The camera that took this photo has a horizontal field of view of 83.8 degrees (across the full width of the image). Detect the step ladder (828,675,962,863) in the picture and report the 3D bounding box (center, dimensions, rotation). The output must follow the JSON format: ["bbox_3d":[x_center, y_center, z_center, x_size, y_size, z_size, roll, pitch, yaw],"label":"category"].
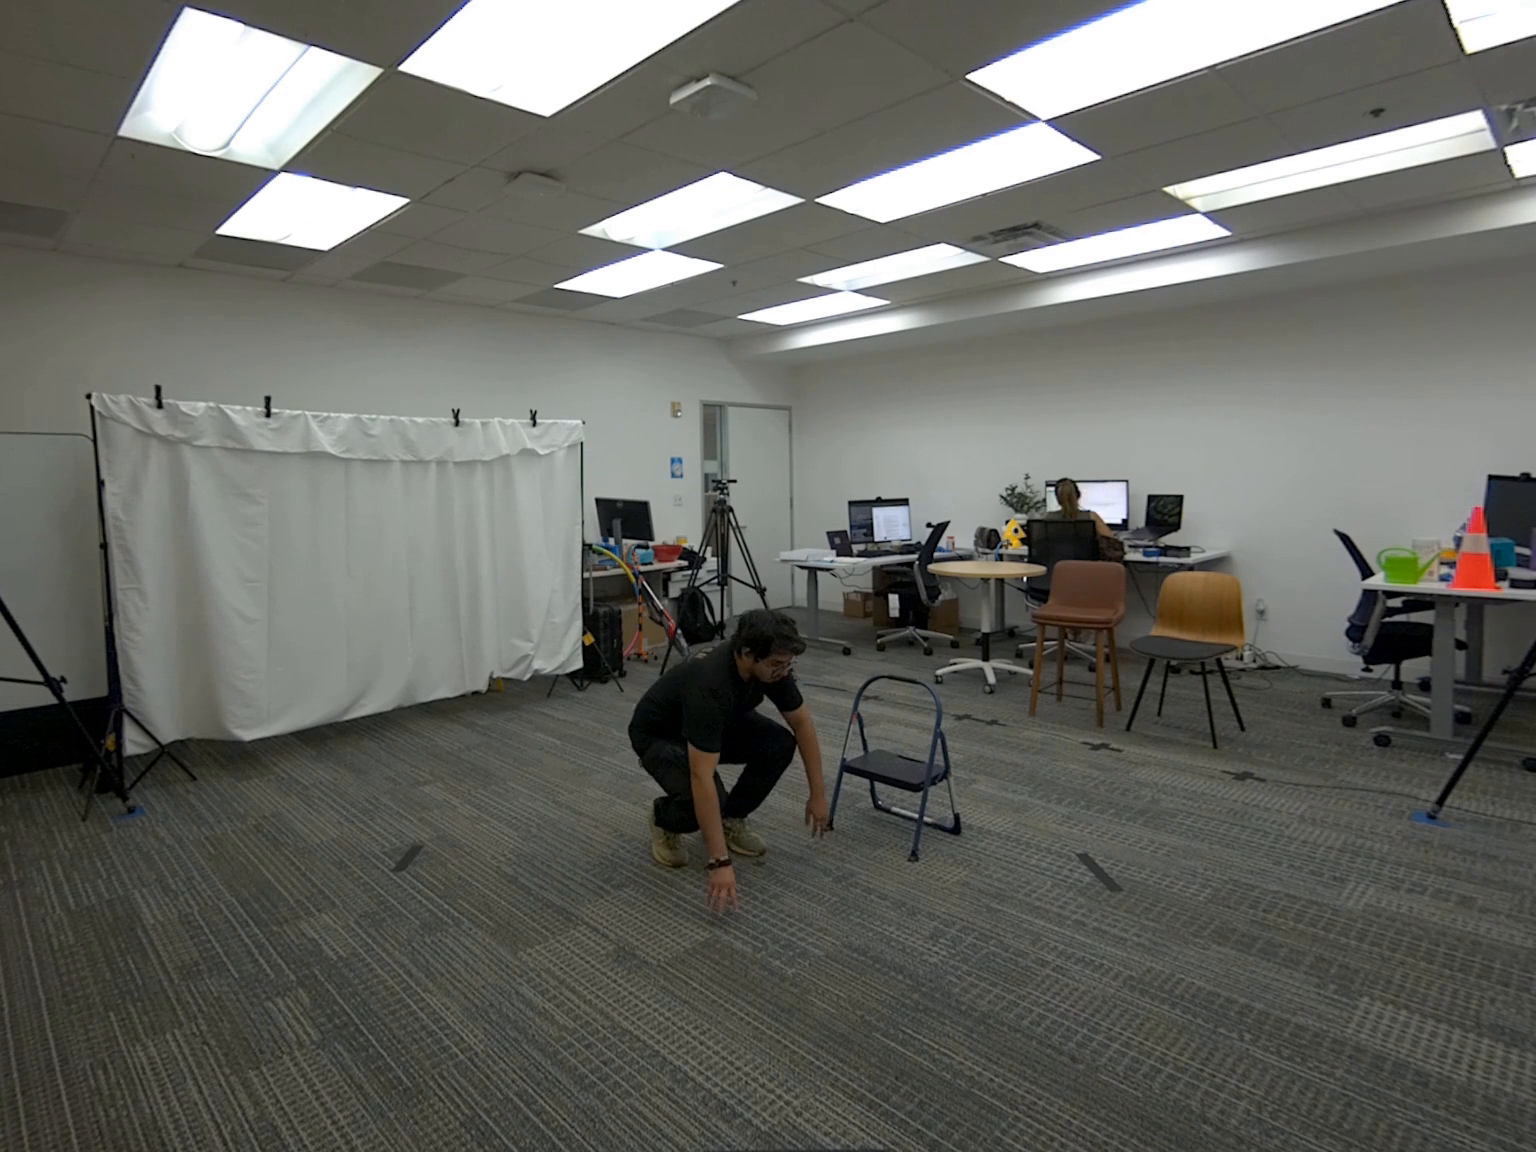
[{"bbox_3d":[0.491,0.708,3.352,0.444,0.604,0.340,4,6,44],"label":"step ladder"}]
